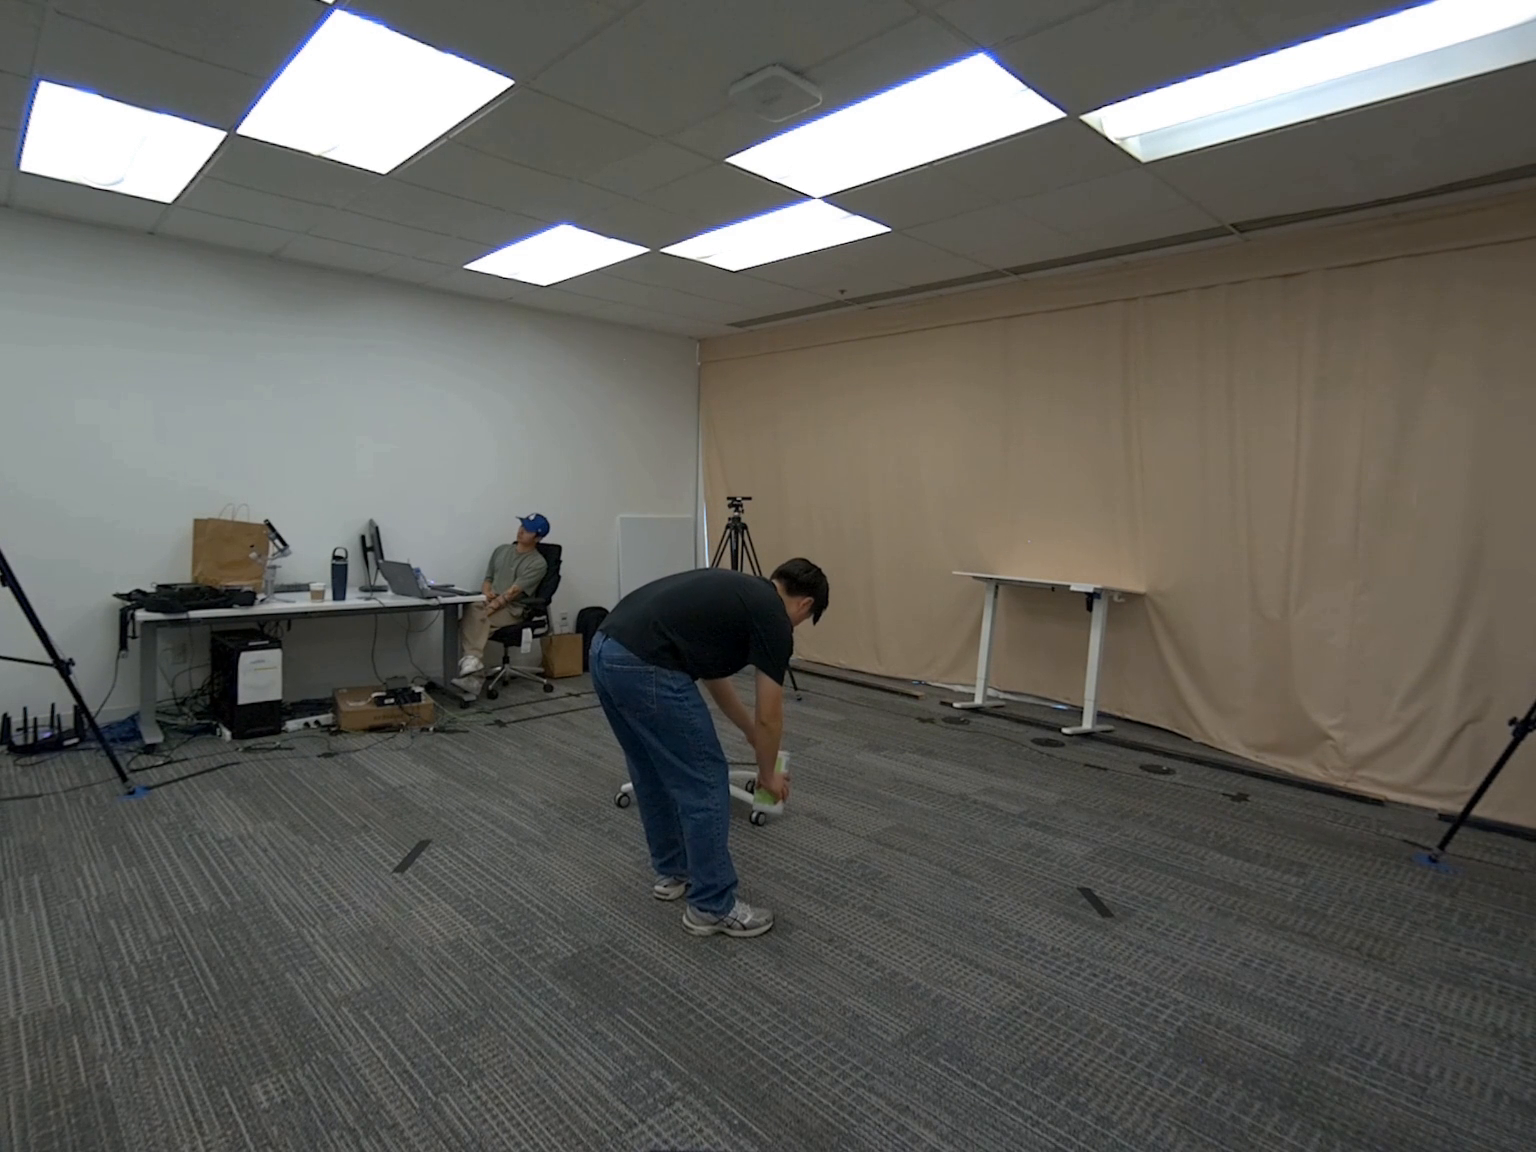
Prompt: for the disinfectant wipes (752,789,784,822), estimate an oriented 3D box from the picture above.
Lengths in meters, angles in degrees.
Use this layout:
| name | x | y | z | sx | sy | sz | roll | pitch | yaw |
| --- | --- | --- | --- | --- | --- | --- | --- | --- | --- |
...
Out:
| name | x | y | z | sx | sy | sz | roll | pitch | yaw |
| --- | --- | --- | --- | --- | --- | --- | --- | --- | --- |
| disinfectant wipes | 0.009 | 0.736 | 3.014 | 0.118 | 0.220 | 0.116 | 2 | -15 | -1 |
